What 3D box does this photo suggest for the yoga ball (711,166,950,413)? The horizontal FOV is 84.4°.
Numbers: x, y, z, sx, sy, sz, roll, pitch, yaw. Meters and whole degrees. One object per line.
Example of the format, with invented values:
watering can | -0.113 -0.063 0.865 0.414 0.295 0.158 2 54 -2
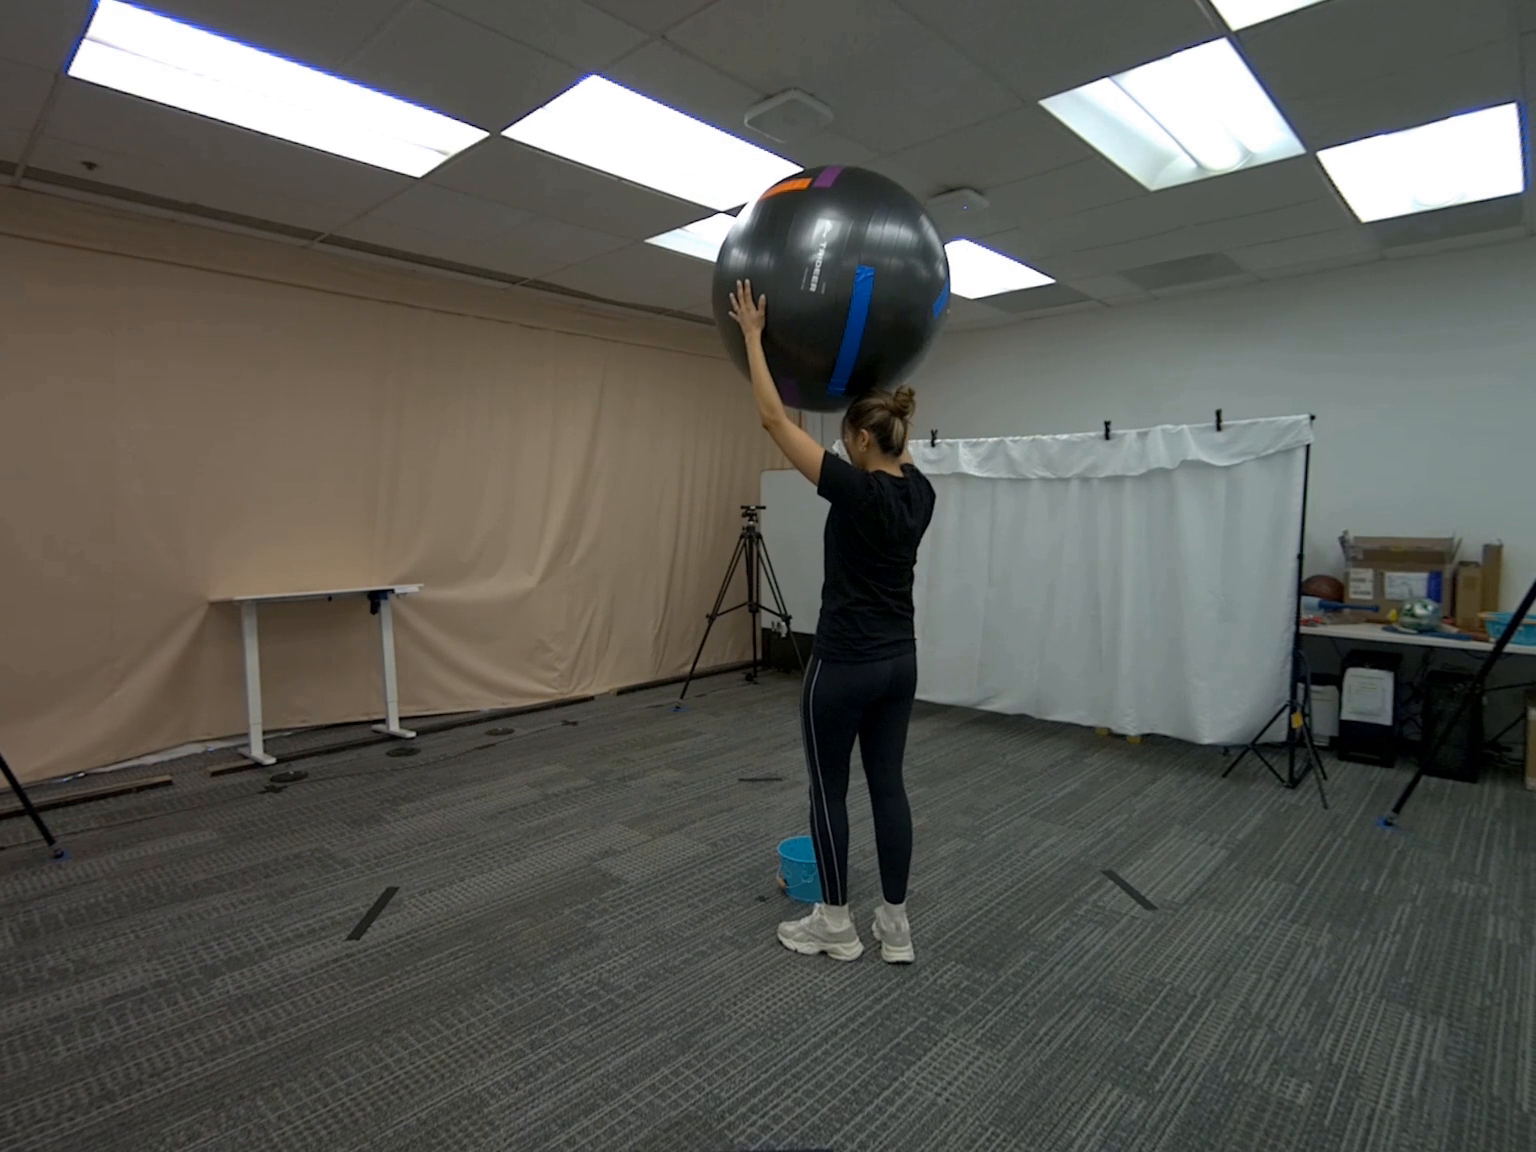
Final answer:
yoga ball | 0.200 -0.902 2.707 0.757 0.756 0.760 0 4 -2
